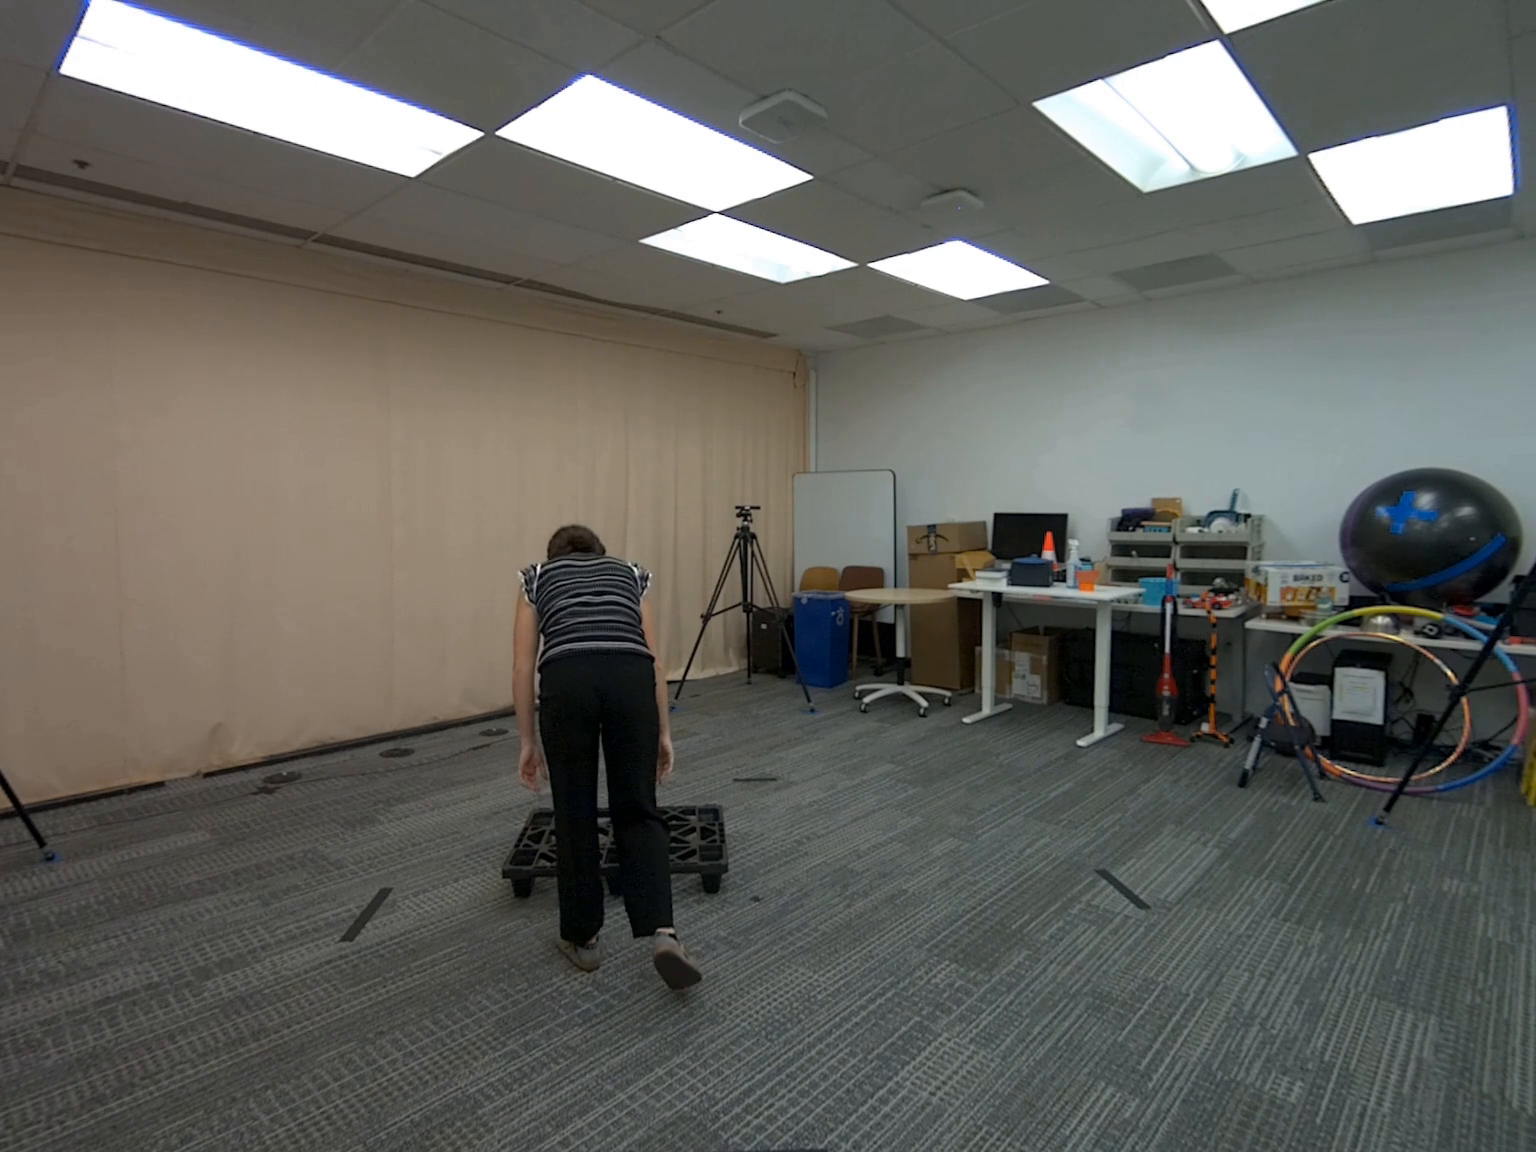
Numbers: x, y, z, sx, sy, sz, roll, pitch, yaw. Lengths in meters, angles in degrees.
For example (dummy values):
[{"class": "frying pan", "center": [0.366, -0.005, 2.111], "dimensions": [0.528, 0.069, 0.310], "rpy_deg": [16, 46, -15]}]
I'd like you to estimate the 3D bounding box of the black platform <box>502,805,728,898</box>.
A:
[{"class": "black platform", "center": [-0.563, 1.059, 3.246], "dimensions": [0.804, 0.143, 0.608], "rpy_deg": [0, 4, -3]}]
